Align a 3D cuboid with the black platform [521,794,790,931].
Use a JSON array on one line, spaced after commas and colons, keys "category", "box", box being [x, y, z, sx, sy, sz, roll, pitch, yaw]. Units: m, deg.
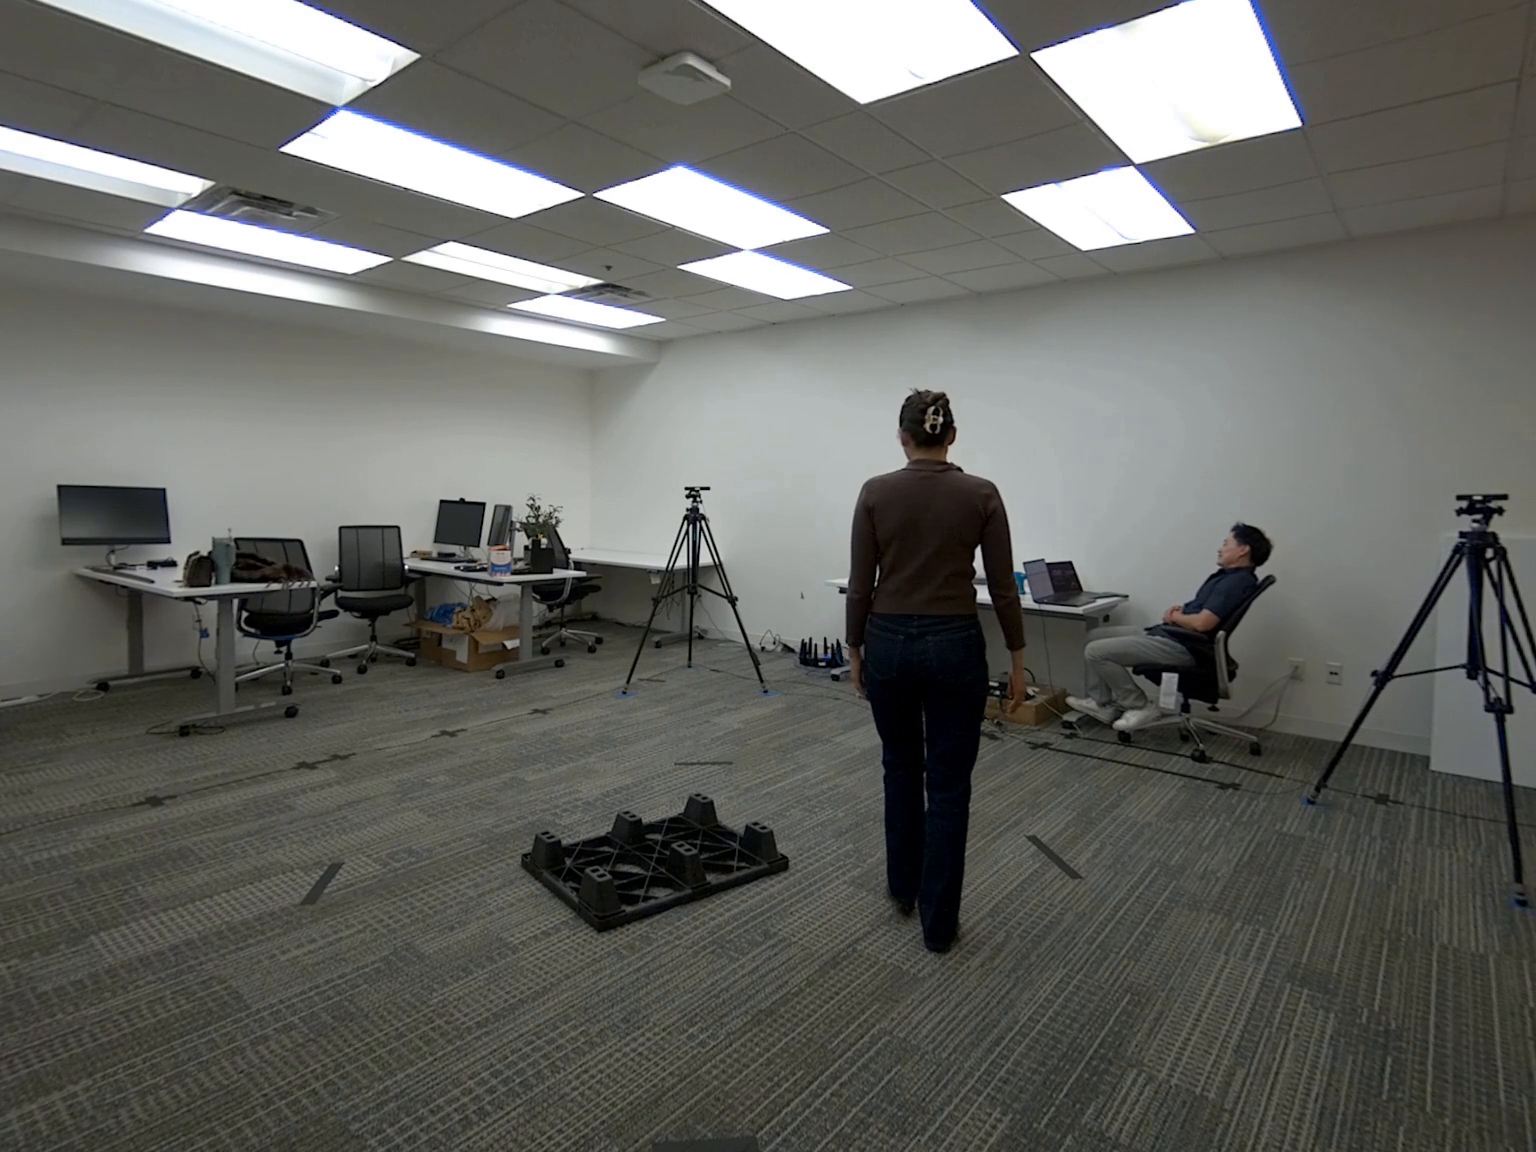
[{"category": "black platform", "box": [-0.421, 0.995, 3.102, 0.782, 0.143, 0.625, -4, 7, -39]}]
